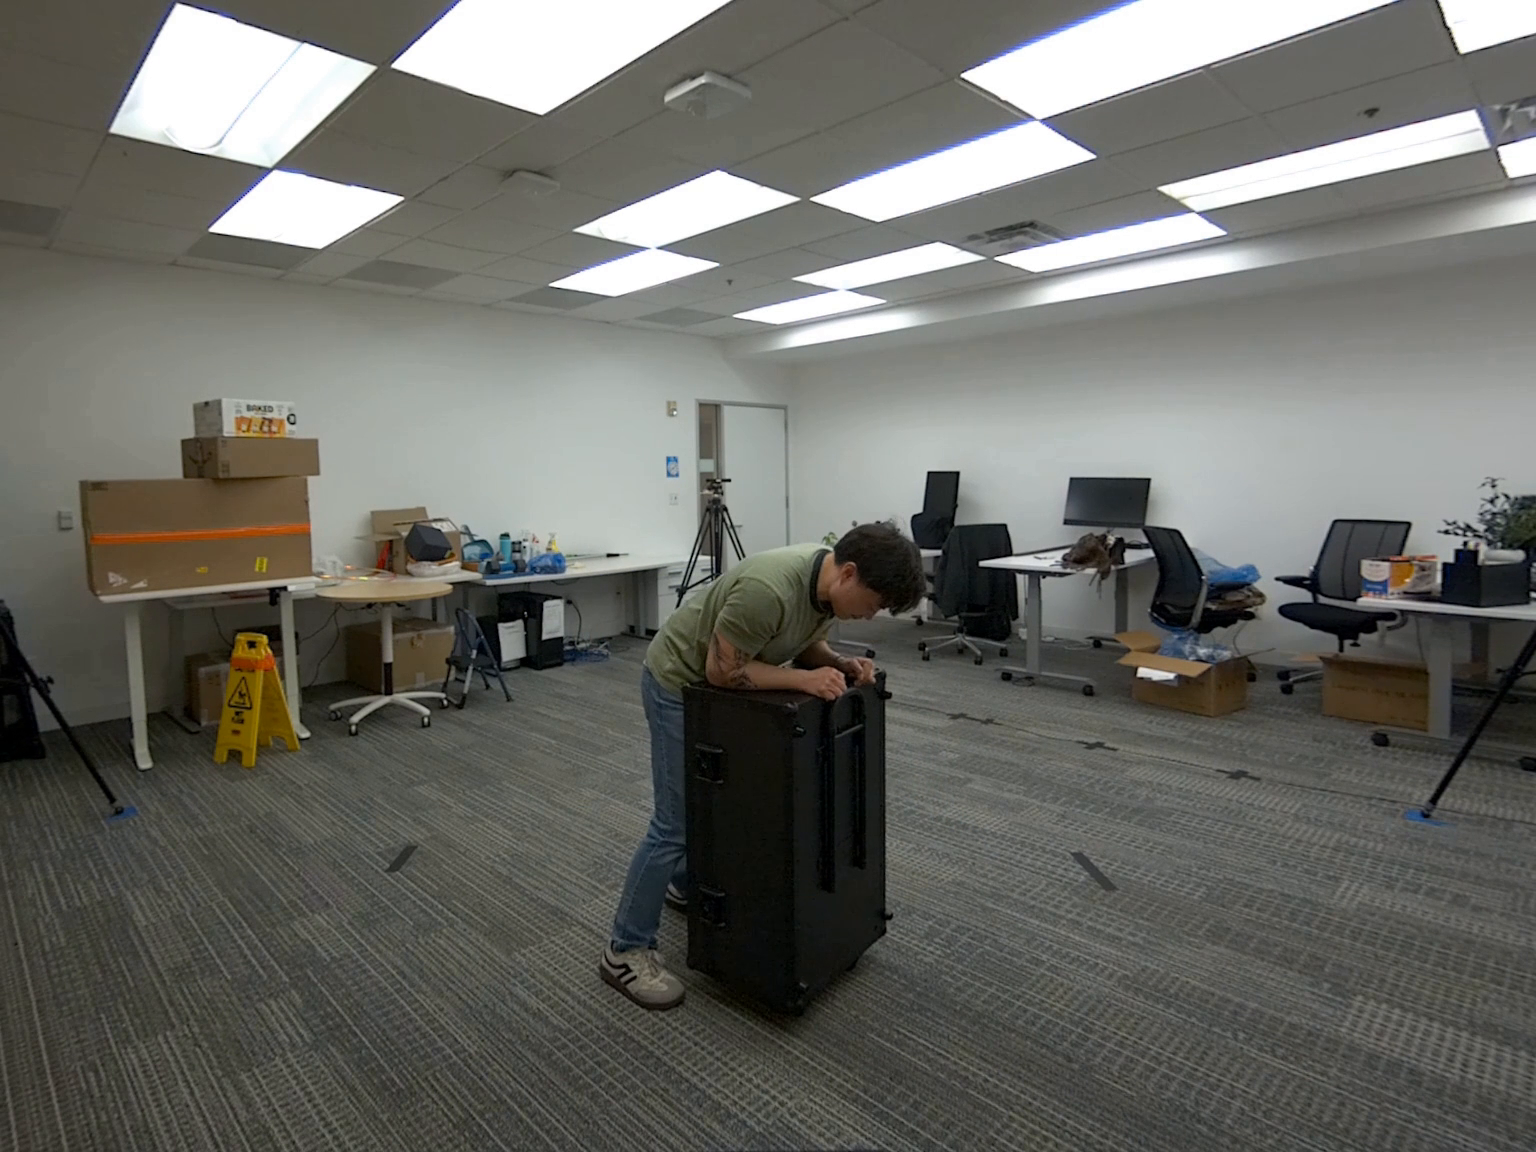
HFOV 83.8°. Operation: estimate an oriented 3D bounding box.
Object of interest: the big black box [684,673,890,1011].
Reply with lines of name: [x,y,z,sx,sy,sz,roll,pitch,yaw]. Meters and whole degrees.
big black box: [0.087,0.709,2.374,0.408,0.858,0.508,3,6,36]
